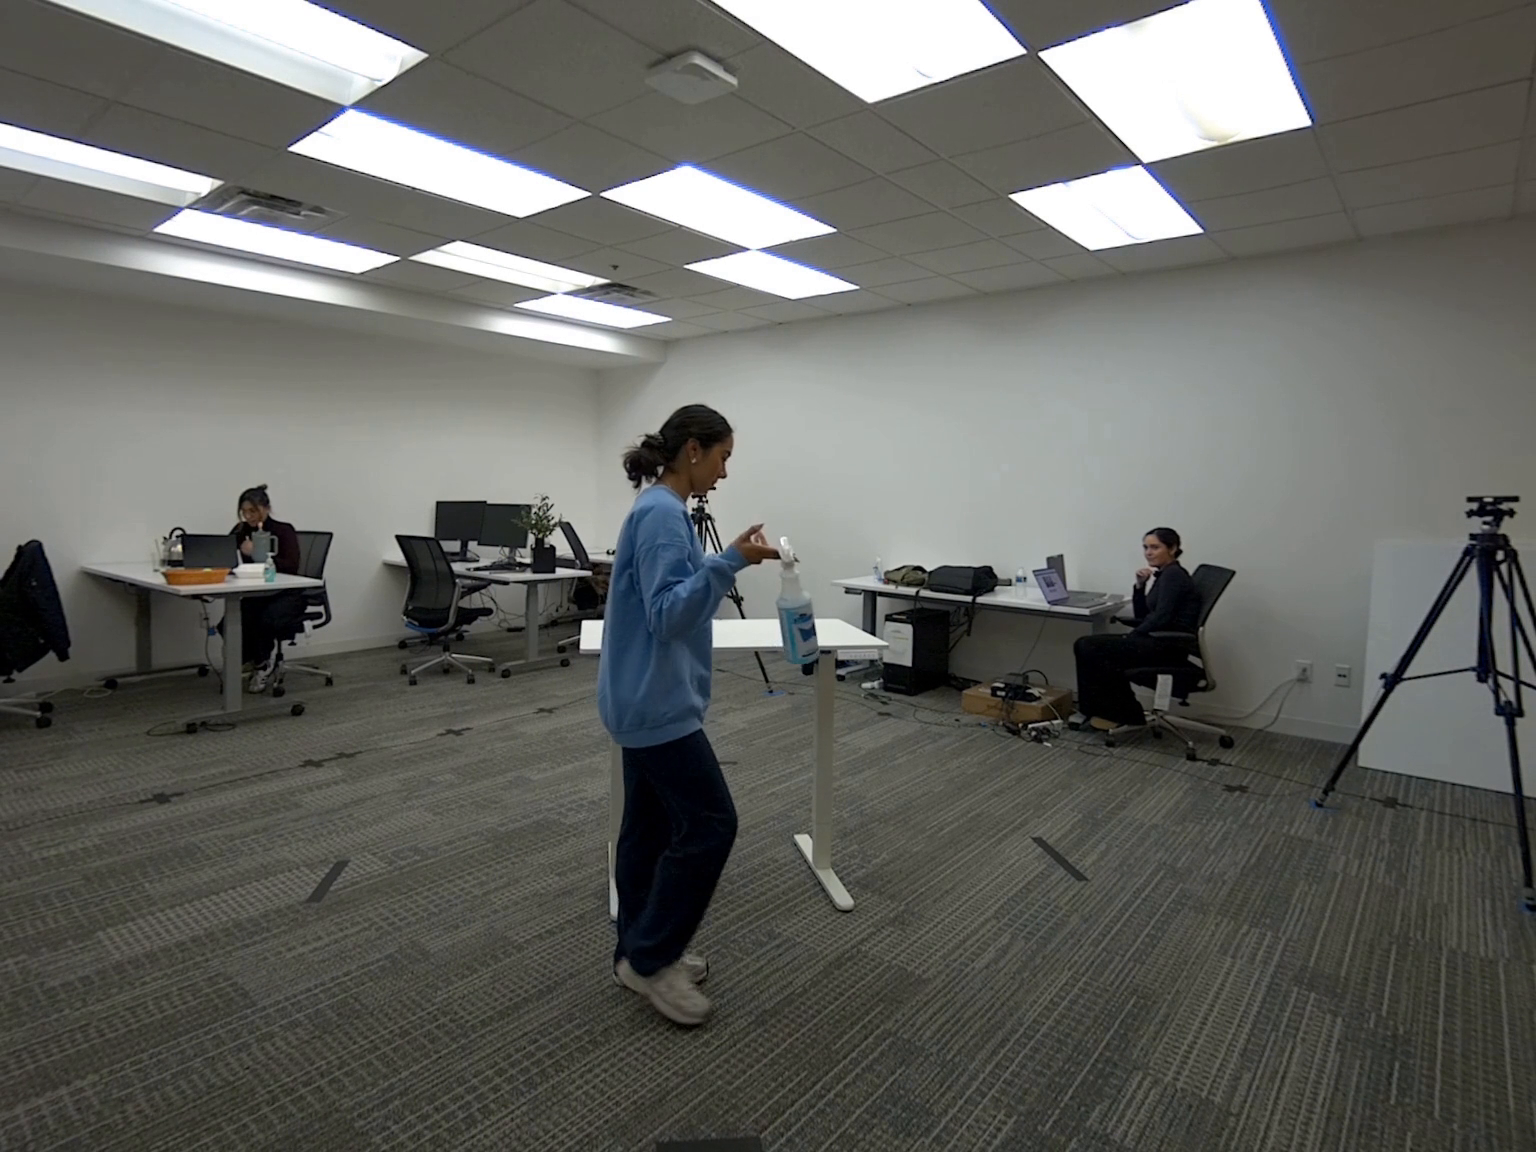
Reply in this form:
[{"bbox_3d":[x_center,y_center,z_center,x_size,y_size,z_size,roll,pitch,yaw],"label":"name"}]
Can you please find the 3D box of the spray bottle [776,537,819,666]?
[{"bbox_3d":[0.050,0.066,2.024,0.089,0.292,0.089,1,17,27],"label":"spray bottle"}]
